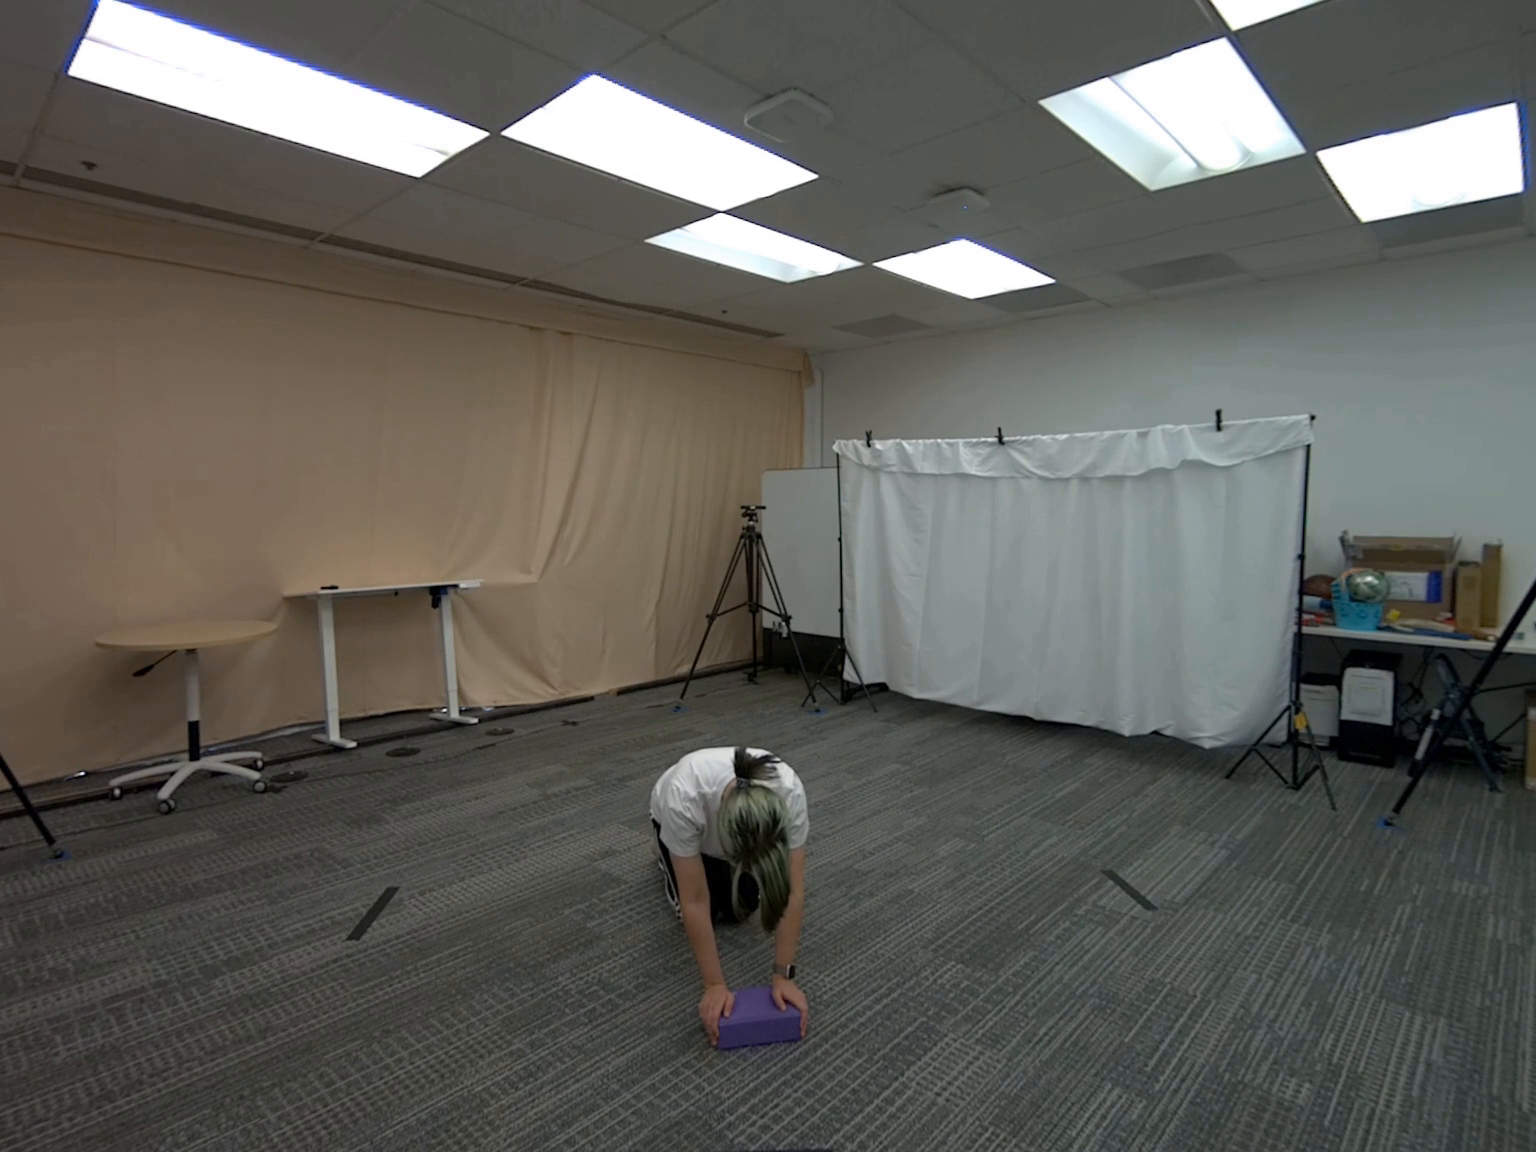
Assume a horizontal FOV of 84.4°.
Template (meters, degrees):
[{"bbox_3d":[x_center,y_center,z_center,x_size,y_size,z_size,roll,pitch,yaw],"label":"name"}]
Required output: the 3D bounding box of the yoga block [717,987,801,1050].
[{"bbox_3d":[-0.043,1.164,2.246,0.227,0.076,0.151,0,5,-11],"label":"yoga block"}]
